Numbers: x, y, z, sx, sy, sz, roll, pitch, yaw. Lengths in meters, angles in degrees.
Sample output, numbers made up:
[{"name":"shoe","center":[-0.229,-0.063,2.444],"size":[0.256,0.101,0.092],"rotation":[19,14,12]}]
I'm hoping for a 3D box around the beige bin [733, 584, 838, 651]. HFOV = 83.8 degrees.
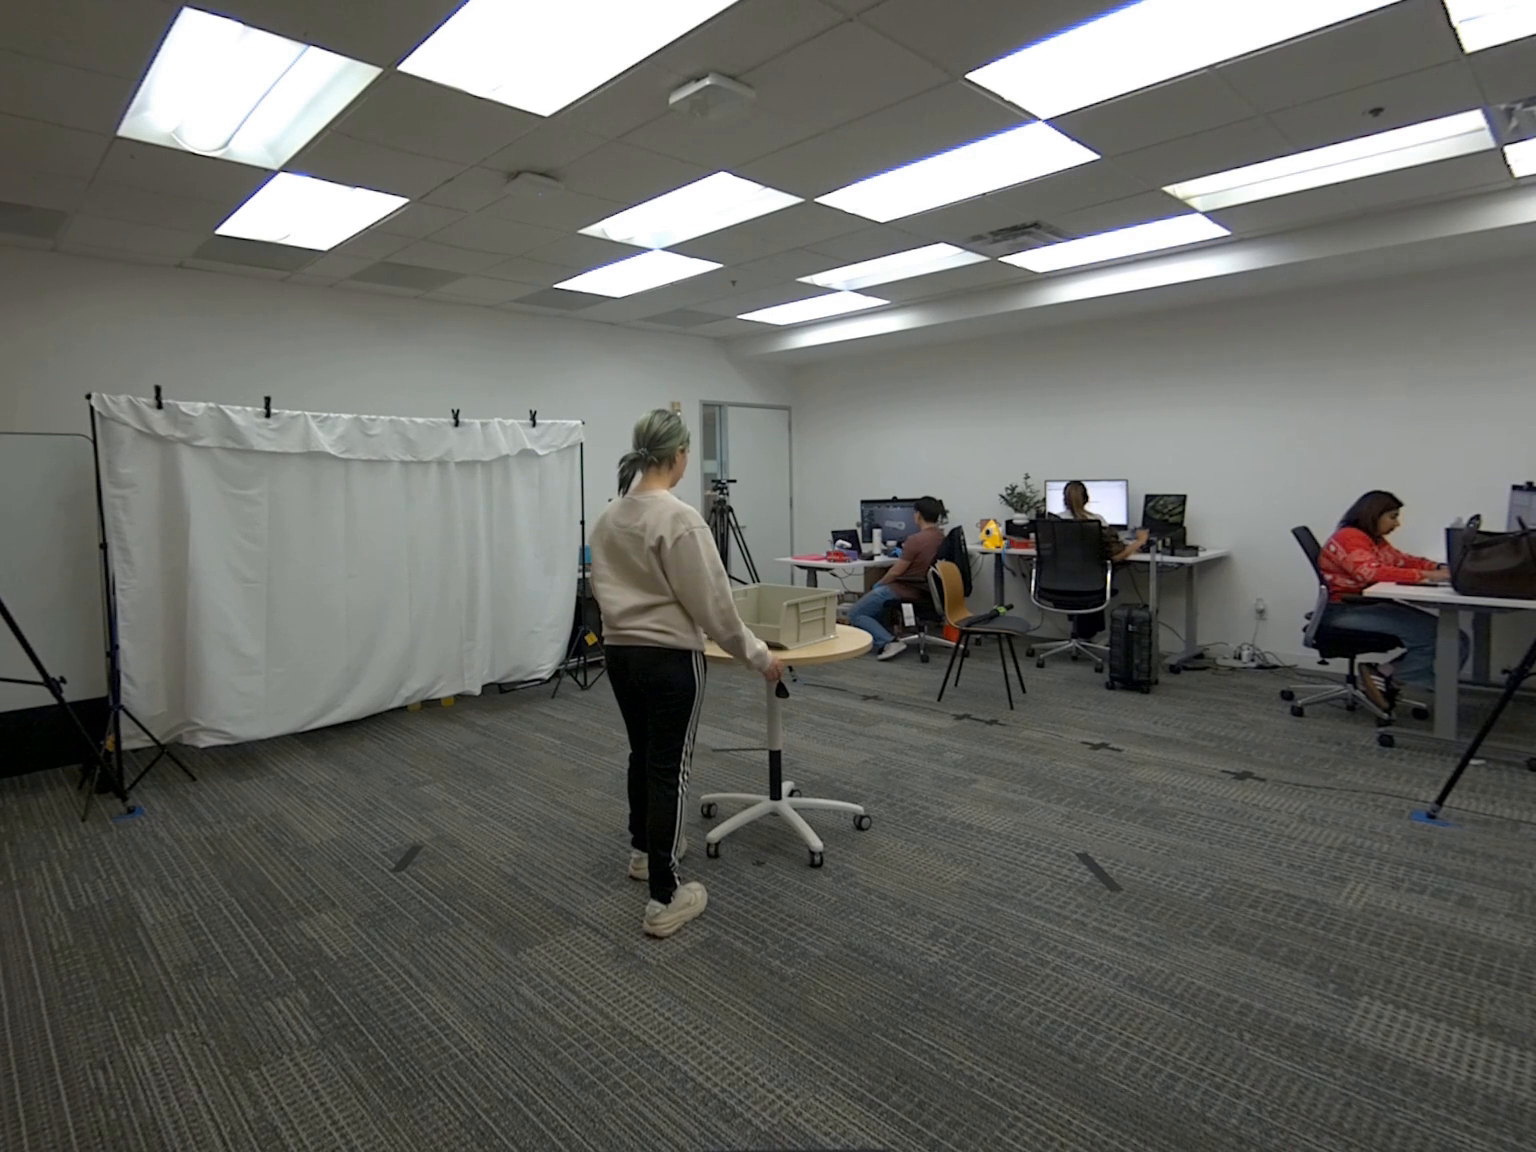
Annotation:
[{"name":"beige bin","center":[0.004,0.154,3.303],"size":[0.435,0.188,0.367],"rotation":[4,7,41]}]
